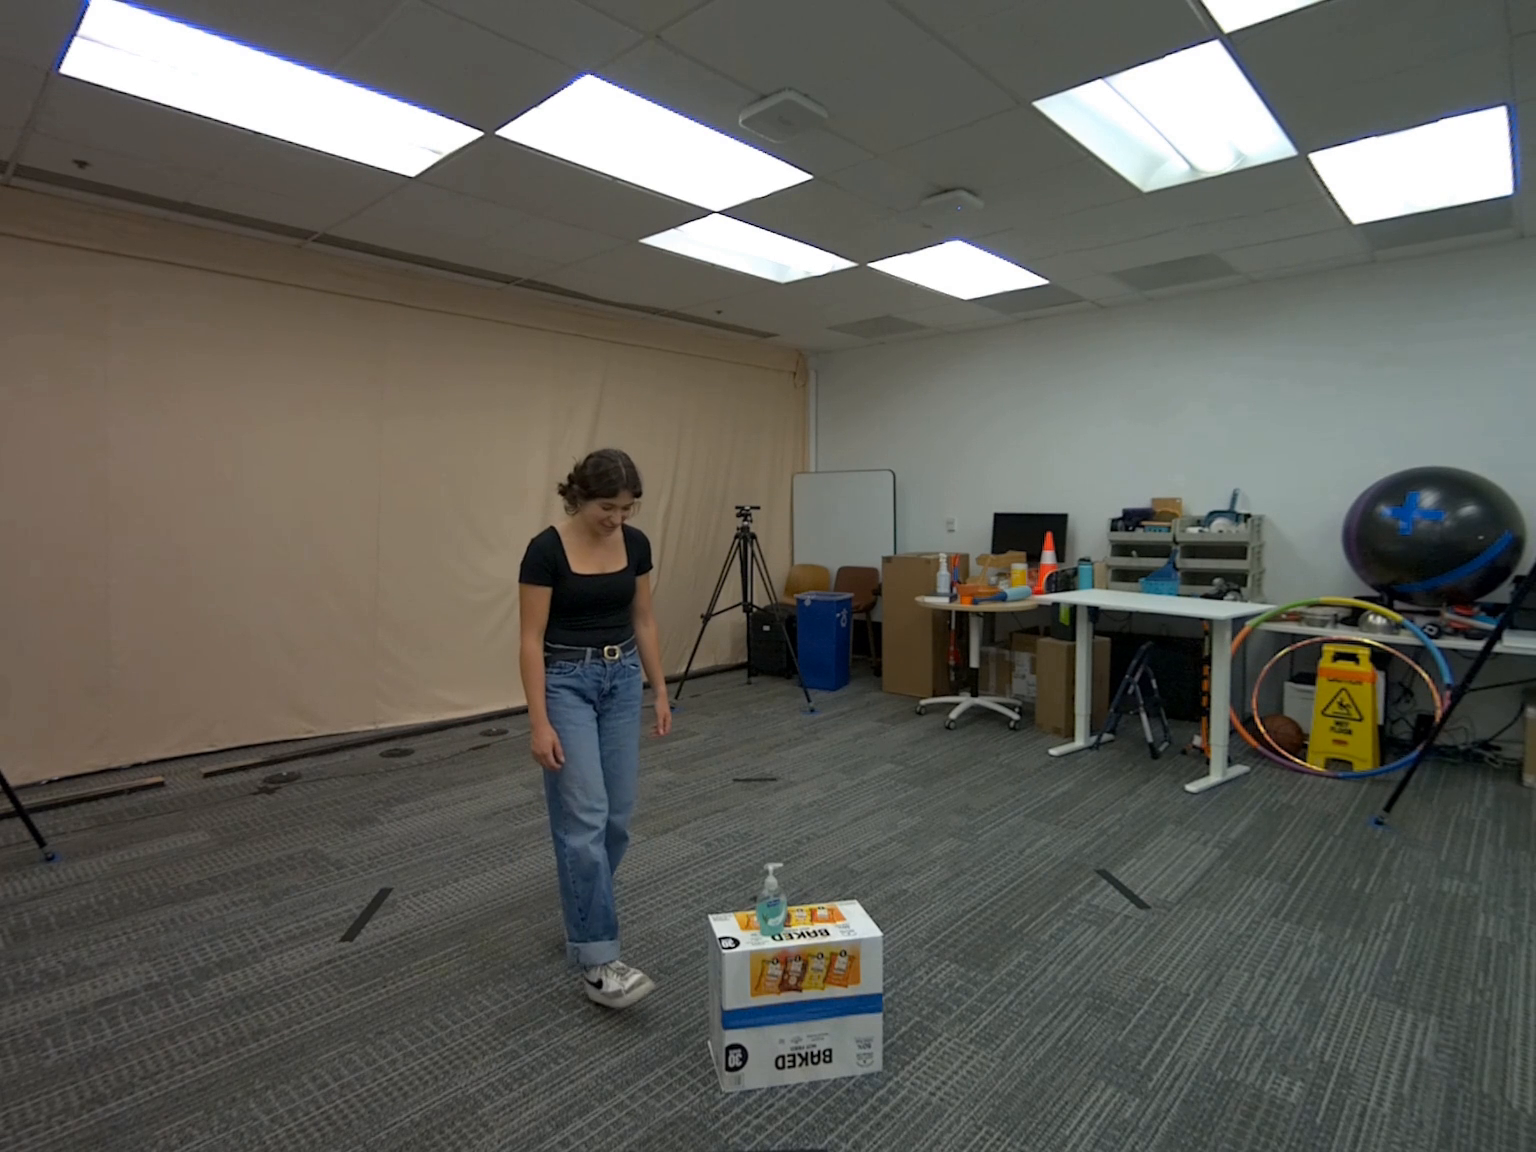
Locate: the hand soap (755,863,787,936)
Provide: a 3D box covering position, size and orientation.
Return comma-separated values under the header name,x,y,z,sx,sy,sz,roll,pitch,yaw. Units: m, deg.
name,x,y,z,sx,sy,sz,roll,pitch,yaw
hand soap,0.017,0.800,2.076,0.082,0.168,0.044,-1,0,-26
